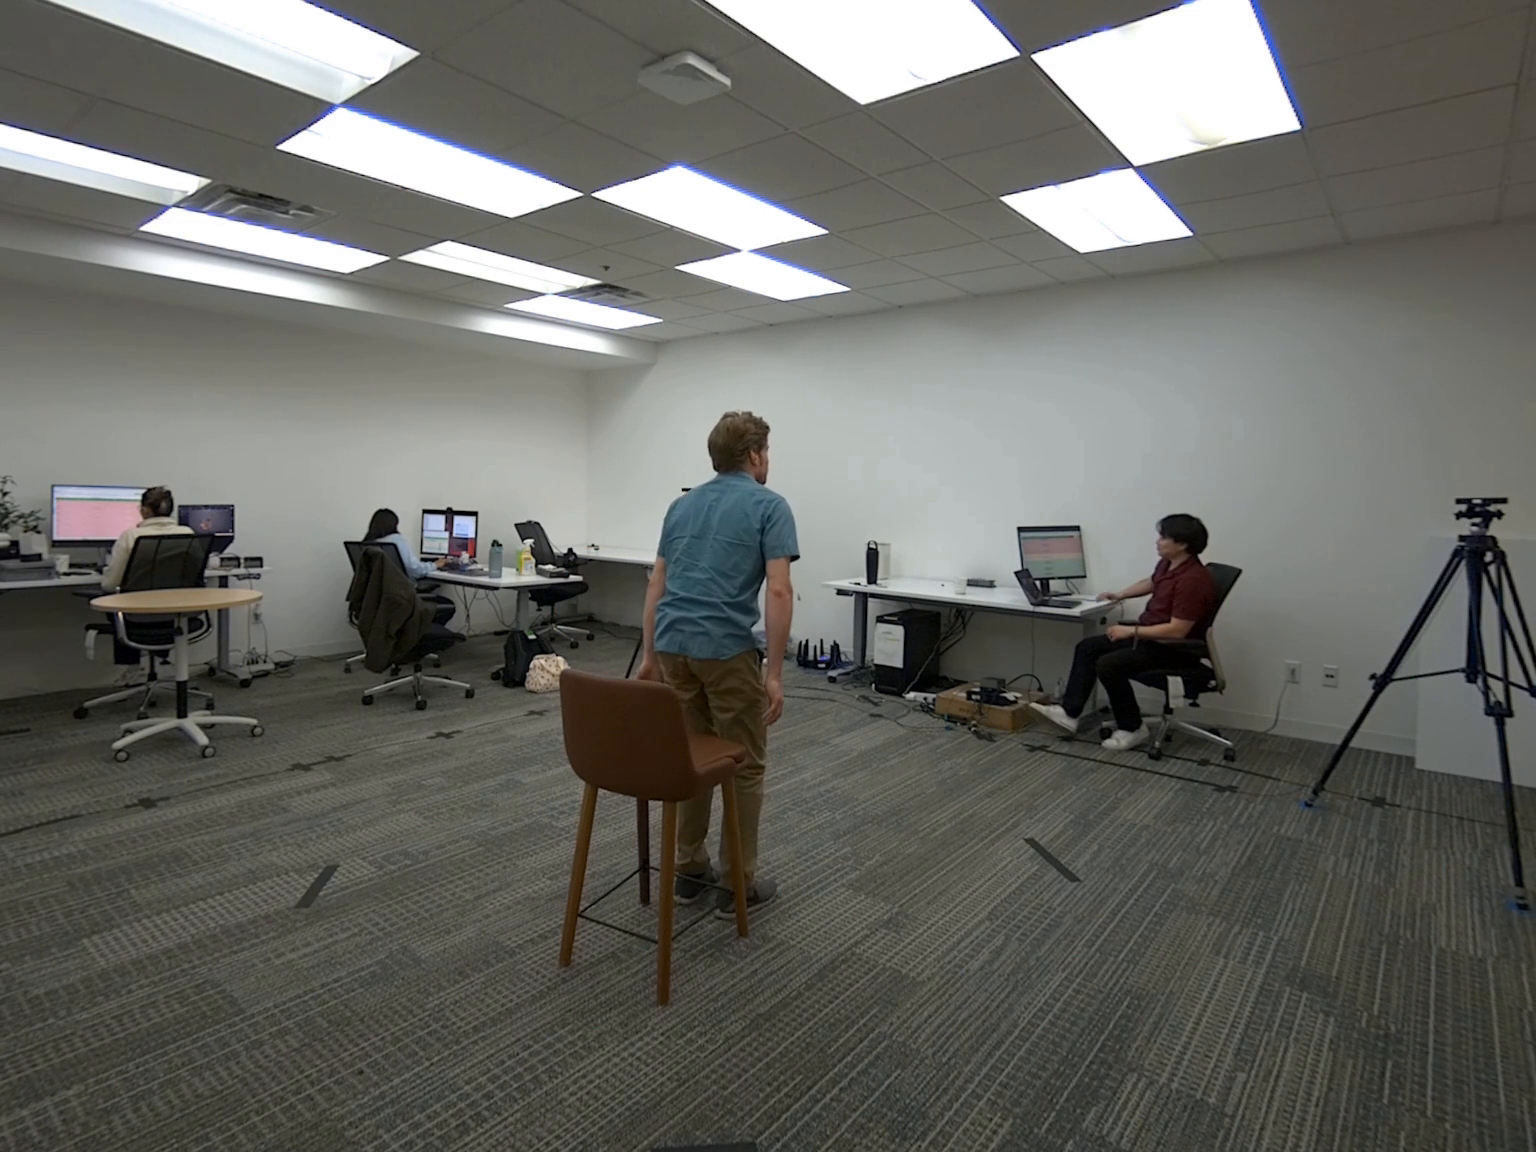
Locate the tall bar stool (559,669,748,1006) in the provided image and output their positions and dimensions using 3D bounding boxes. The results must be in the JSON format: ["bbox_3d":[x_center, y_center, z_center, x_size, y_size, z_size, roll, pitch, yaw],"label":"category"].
[{"bbox_3d":[-0.347,0.687,2.544,0.470,0.886,0.456,2,5,29],"label":"tall bar stool"}]
